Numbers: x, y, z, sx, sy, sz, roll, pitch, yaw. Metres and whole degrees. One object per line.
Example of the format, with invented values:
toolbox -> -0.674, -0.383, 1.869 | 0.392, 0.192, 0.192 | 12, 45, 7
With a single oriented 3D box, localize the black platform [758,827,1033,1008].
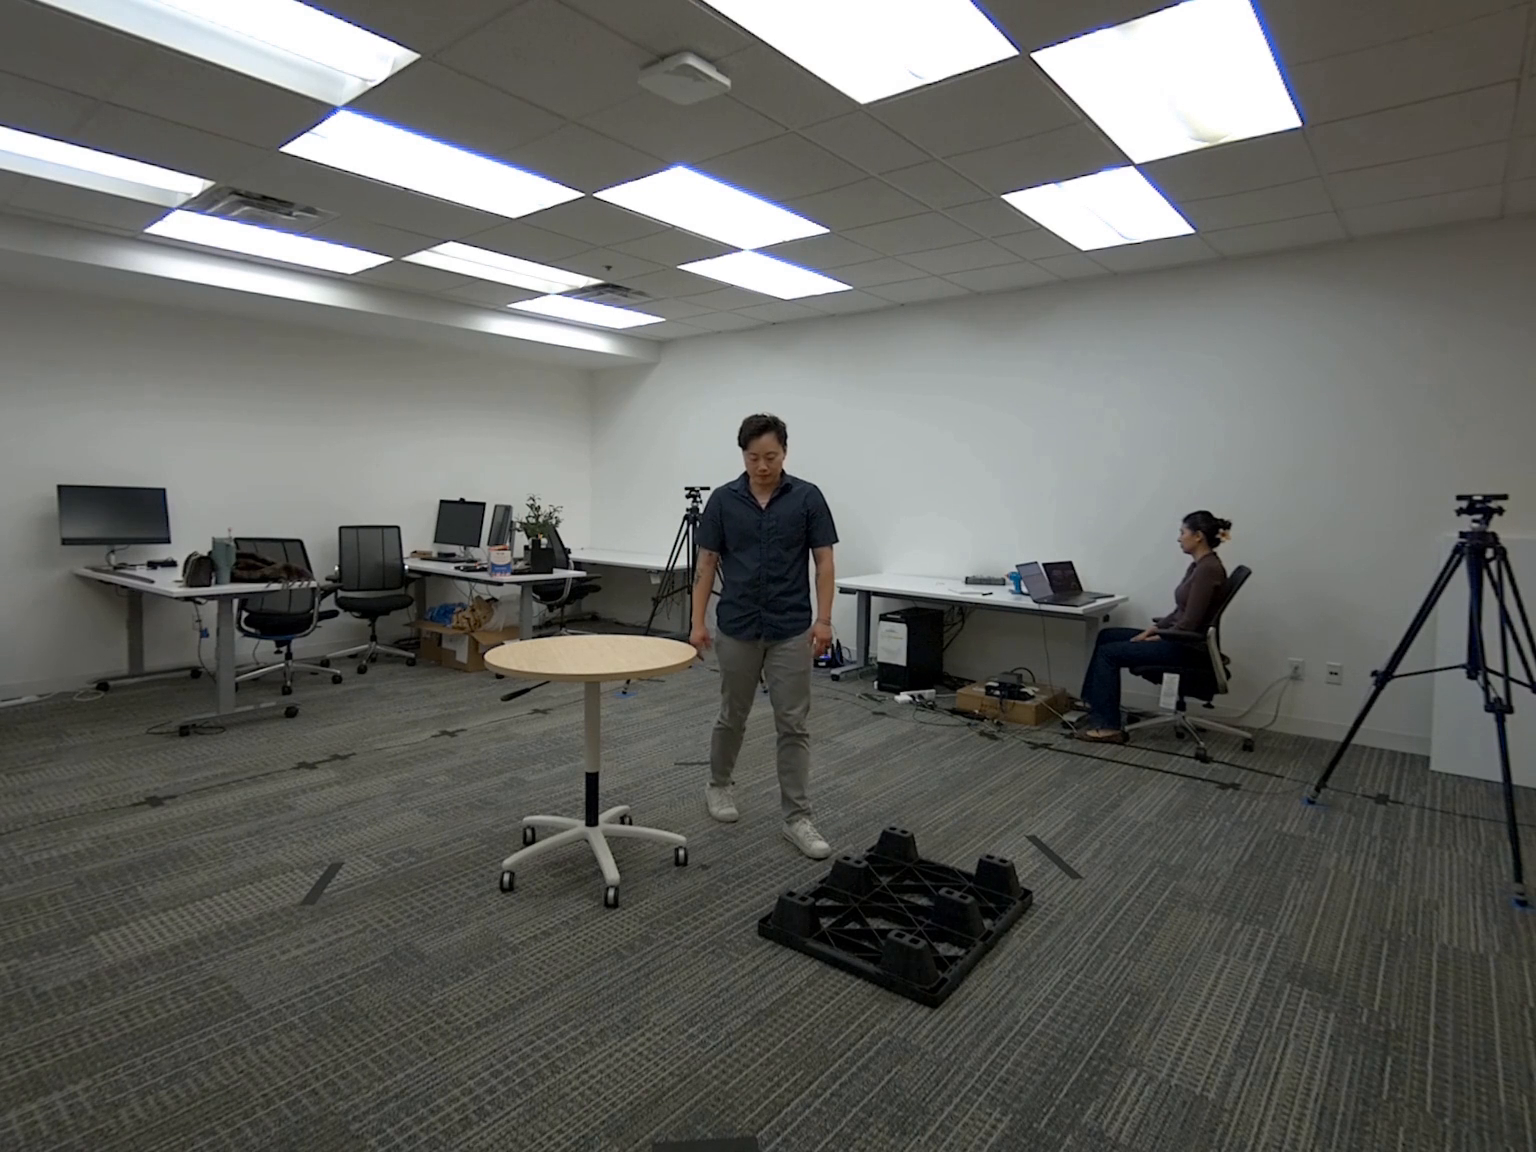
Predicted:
black platform -> 0.430, 1.045, 2.765 | 0.625, 0.143, 0.783 | 5, 7, 36
